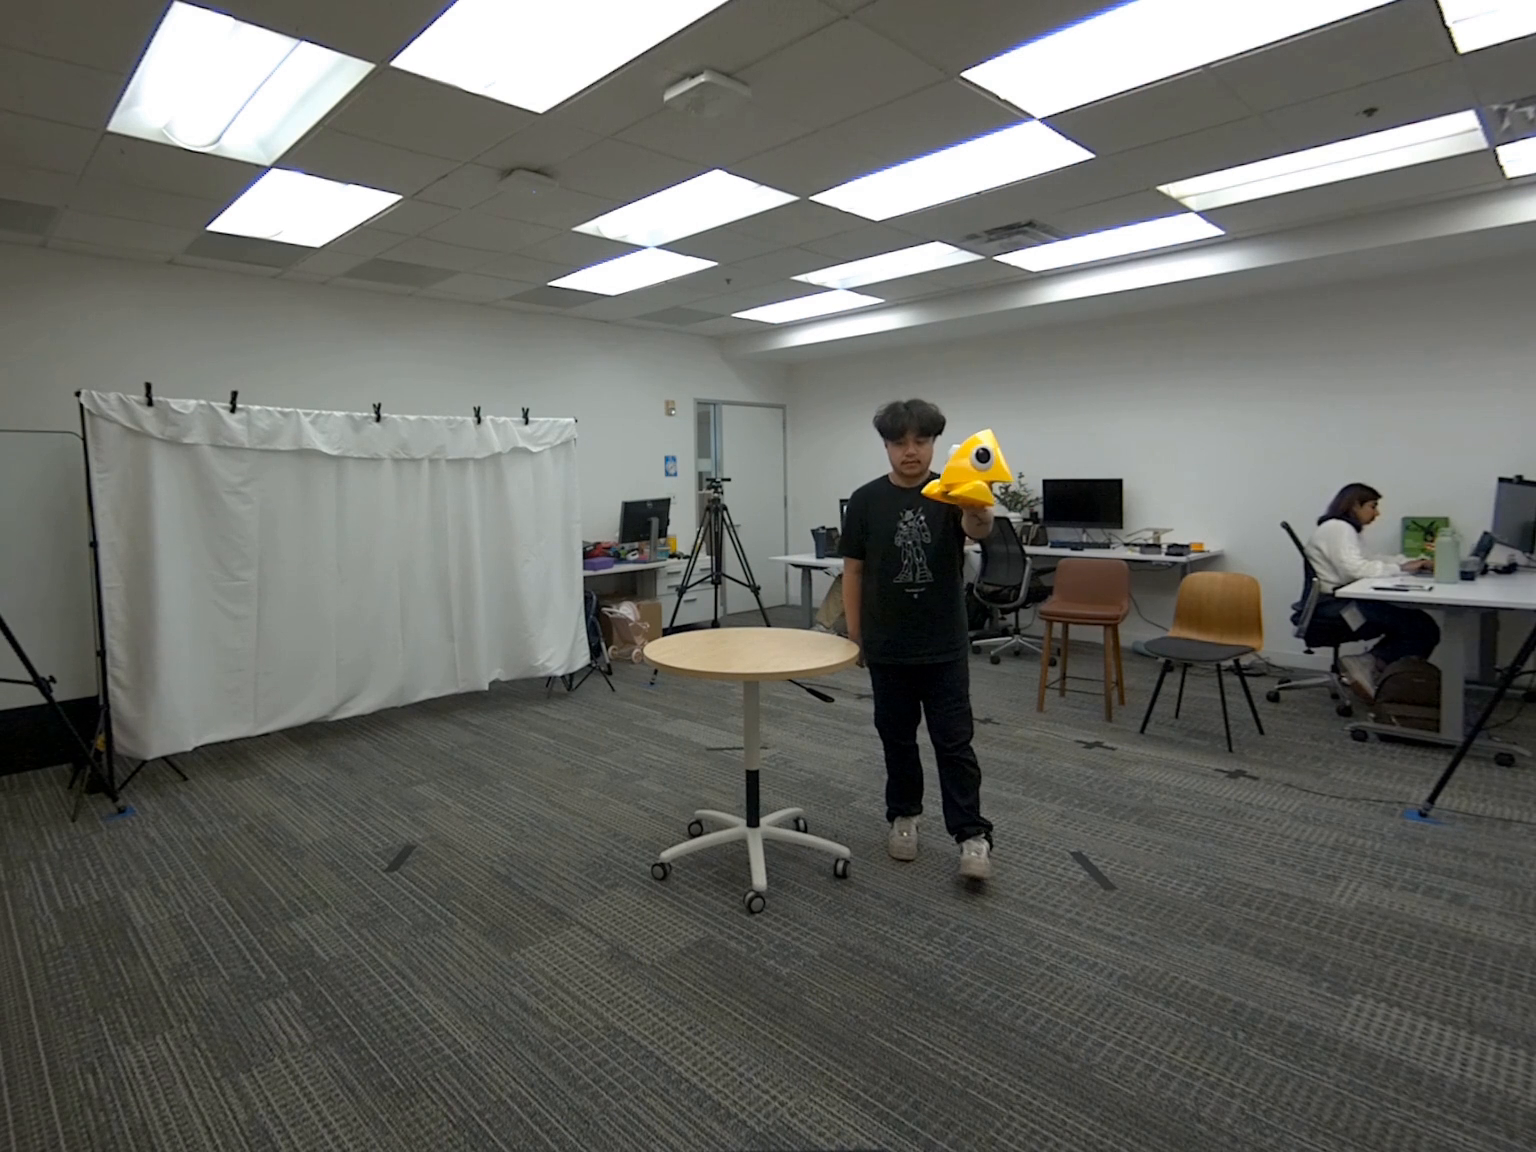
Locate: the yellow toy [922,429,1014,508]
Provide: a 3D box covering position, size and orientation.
[{"bbox_3d":[0.591,-0.331,2.481,0.187,0.231,0.211,13,-1,-32],"label":"yellow toy"}]
